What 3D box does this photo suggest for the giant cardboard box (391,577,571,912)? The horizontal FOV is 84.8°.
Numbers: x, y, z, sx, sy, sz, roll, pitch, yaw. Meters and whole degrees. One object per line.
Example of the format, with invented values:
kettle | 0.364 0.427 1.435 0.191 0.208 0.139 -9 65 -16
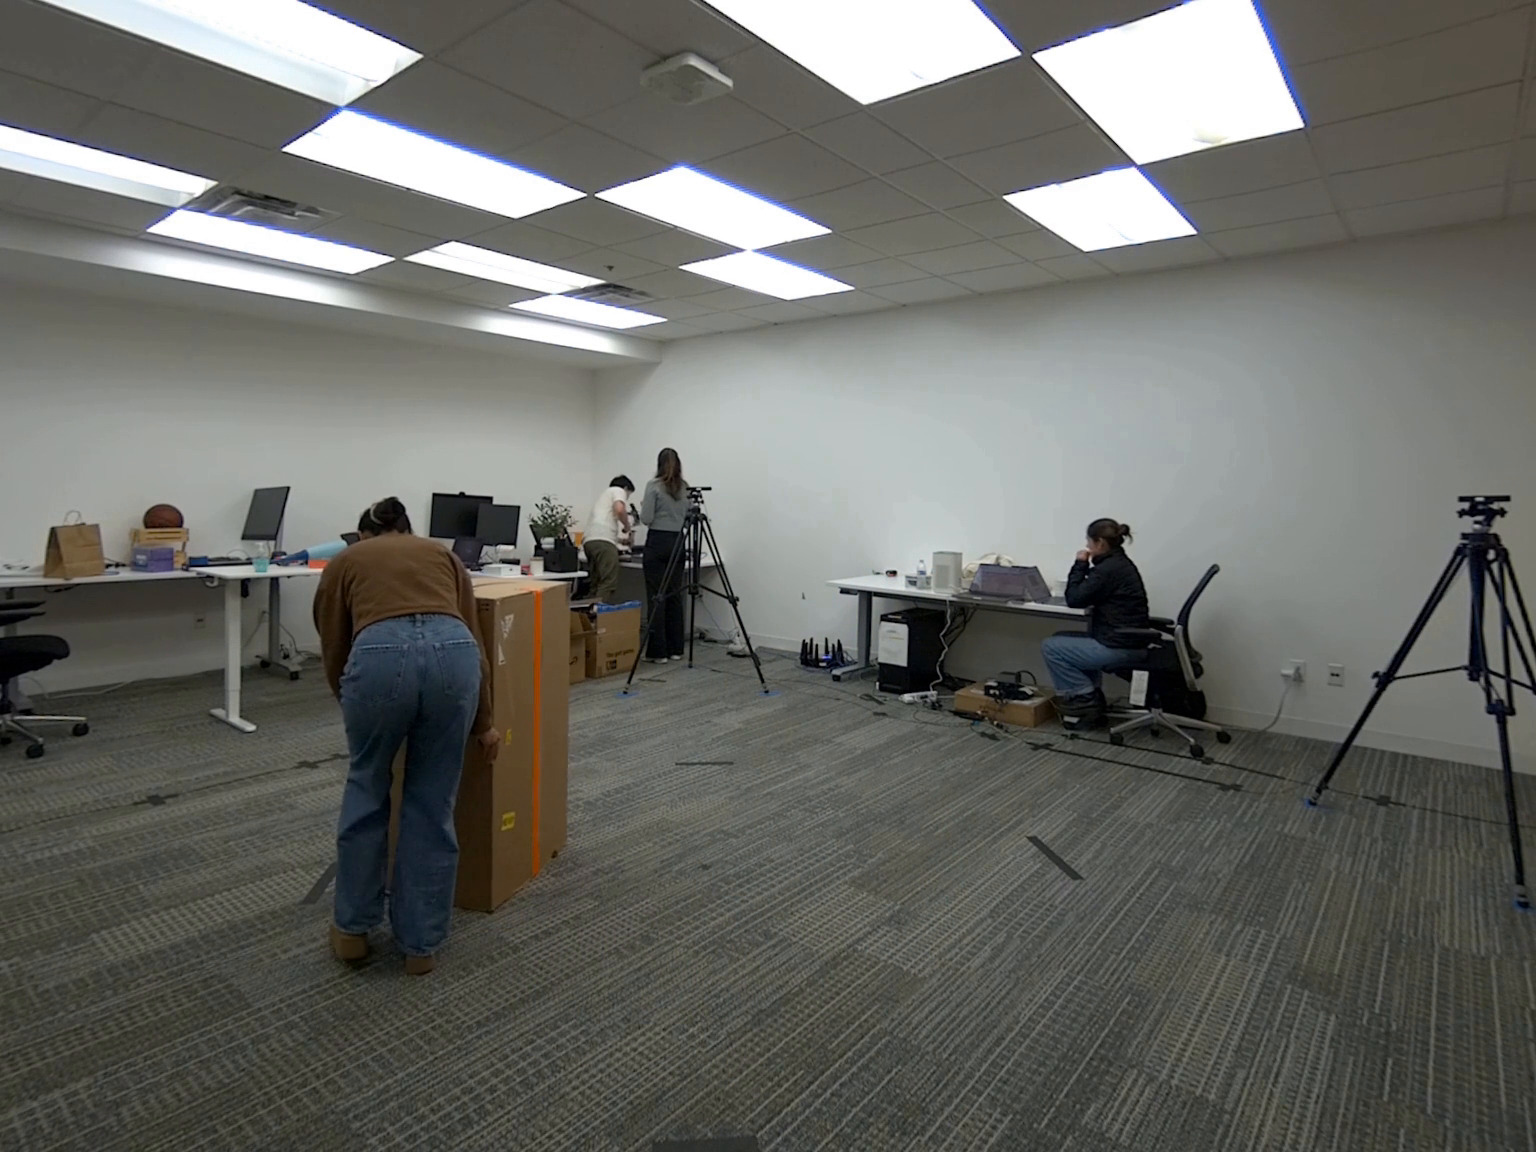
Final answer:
giant cardboard box | -1.040 0.553 3.063 0.433 1.023 0.570 2 3 13
